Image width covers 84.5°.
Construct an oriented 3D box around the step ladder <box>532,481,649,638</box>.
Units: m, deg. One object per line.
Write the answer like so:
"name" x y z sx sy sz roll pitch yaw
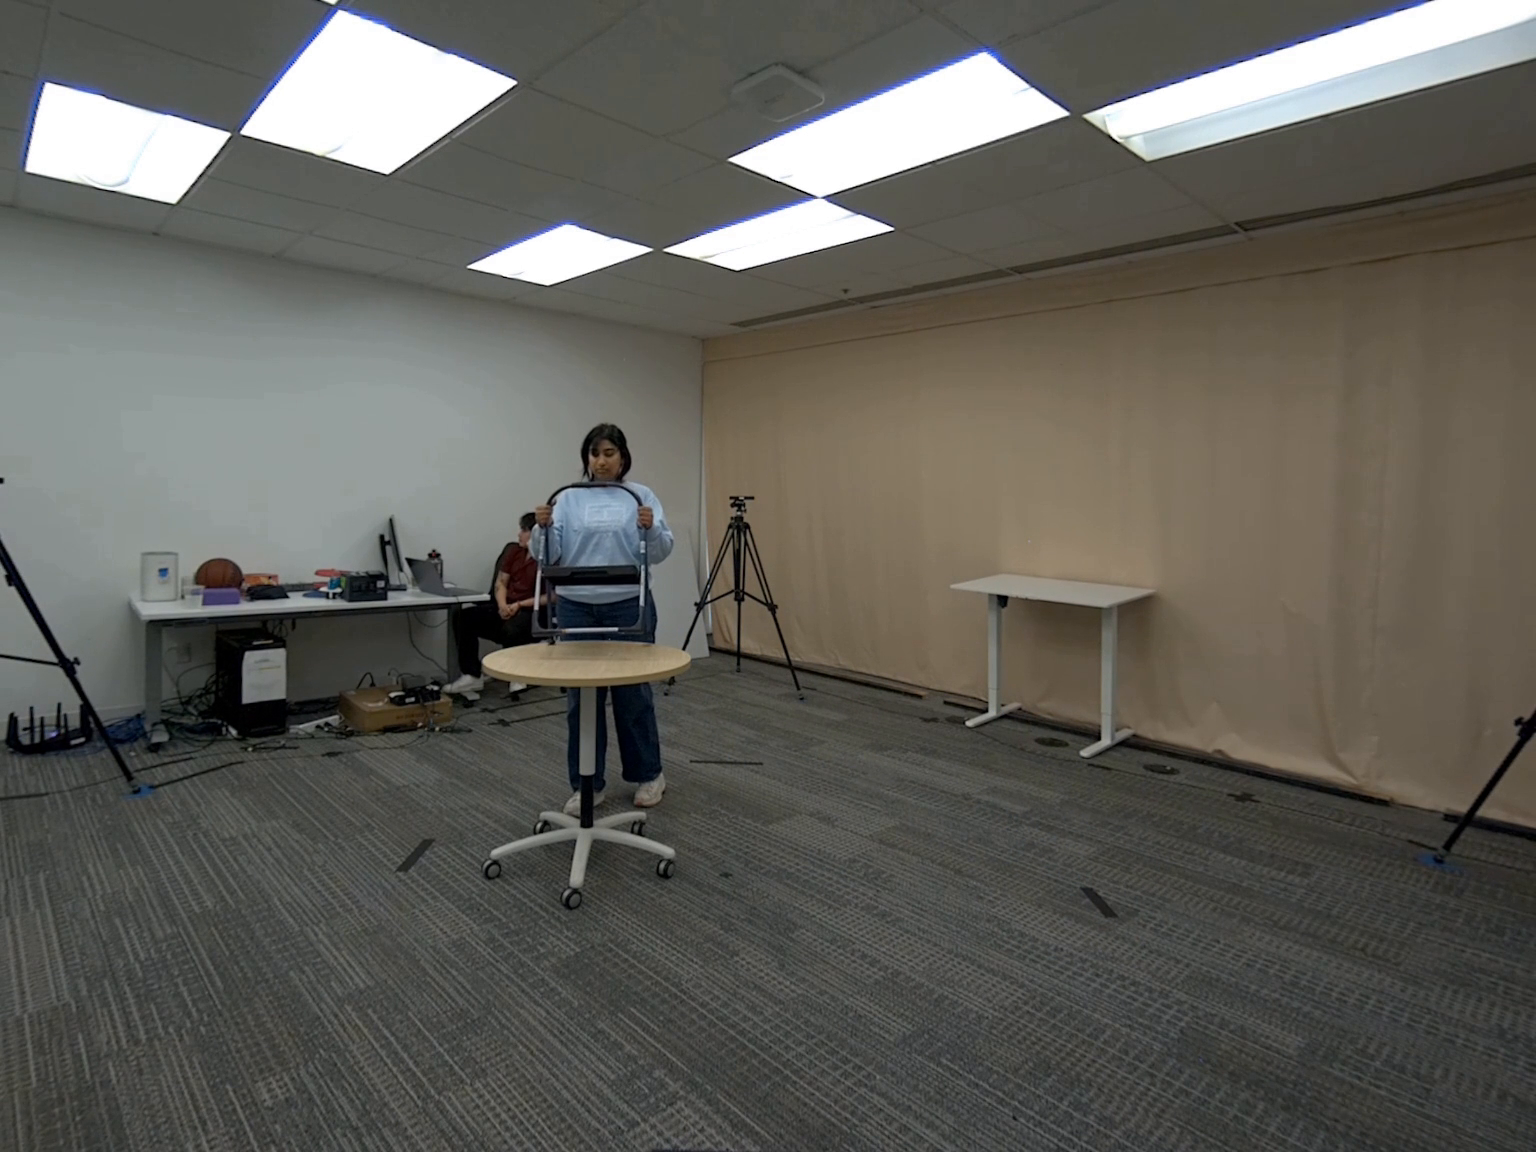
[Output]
"step ladder" -0.688 -0.052 3.326 0.430 0.610 0.347 1 -10 -3
